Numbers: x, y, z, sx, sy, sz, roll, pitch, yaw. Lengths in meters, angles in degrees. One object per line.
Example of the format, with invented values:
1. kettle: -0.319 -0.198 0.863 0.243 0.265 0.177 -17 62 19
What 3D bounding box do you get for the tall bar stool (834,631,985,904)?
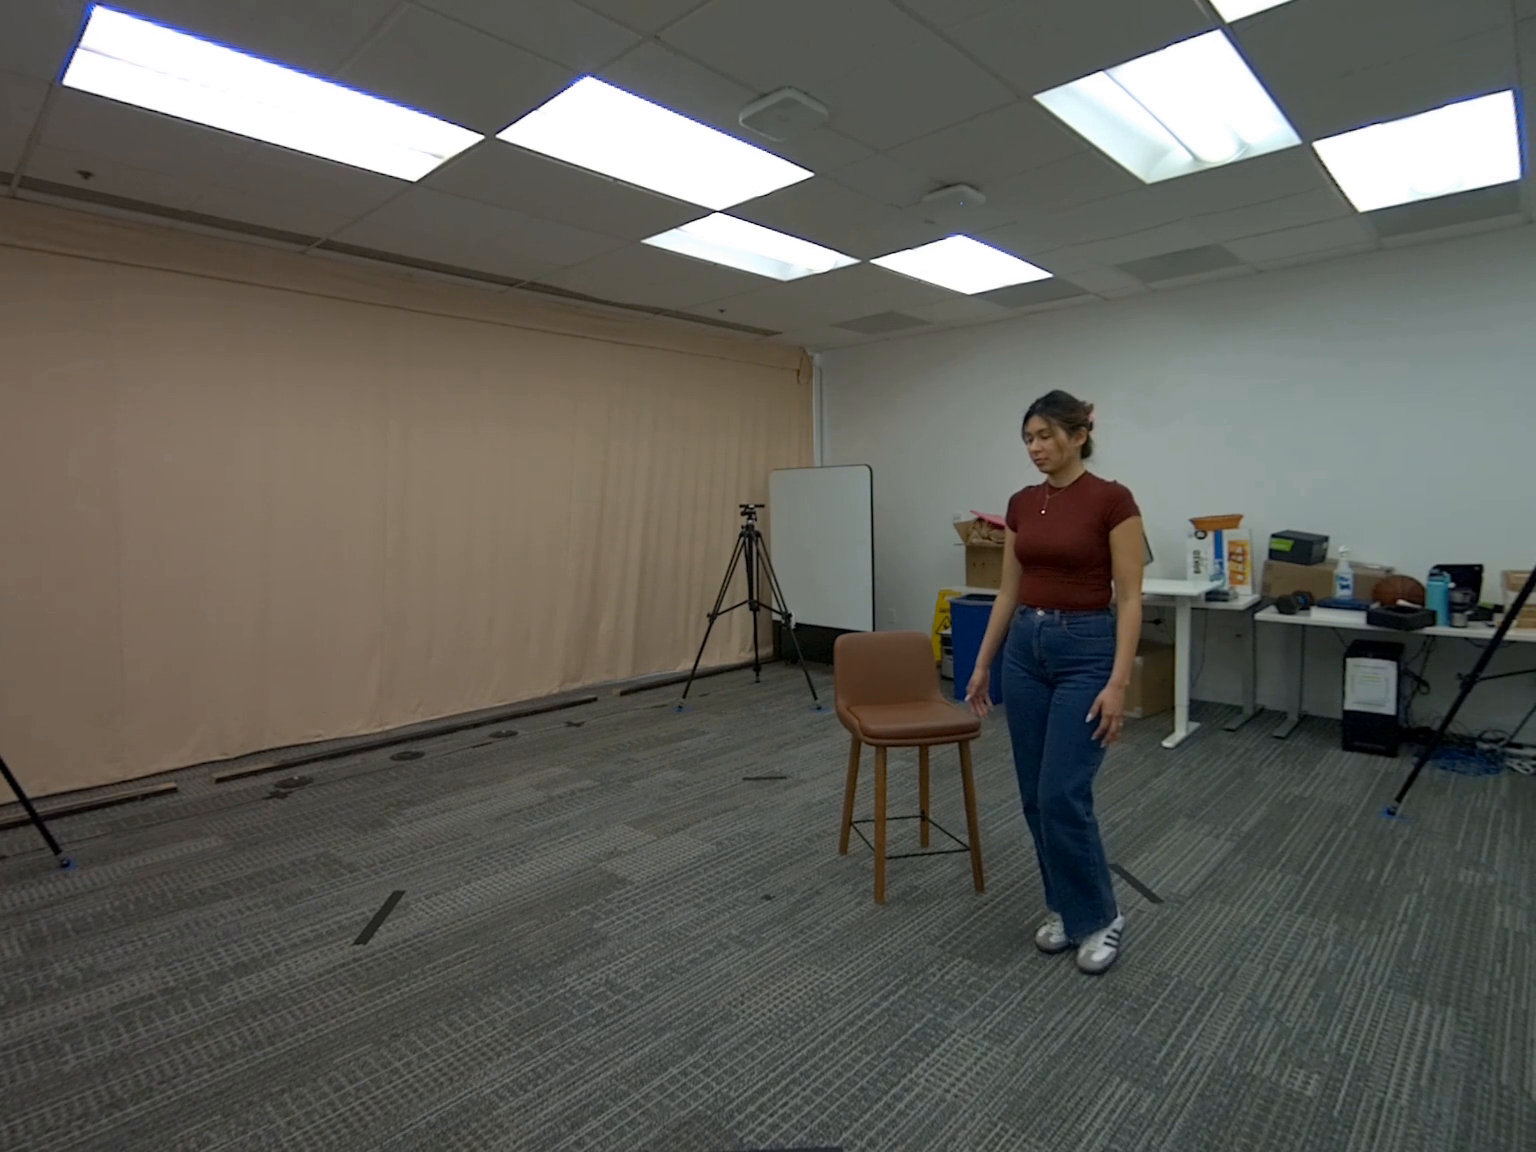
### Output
1. tall bar stool: 0.520 0.682 3.157 0.450 0.889 0.474 -1 1 -14
